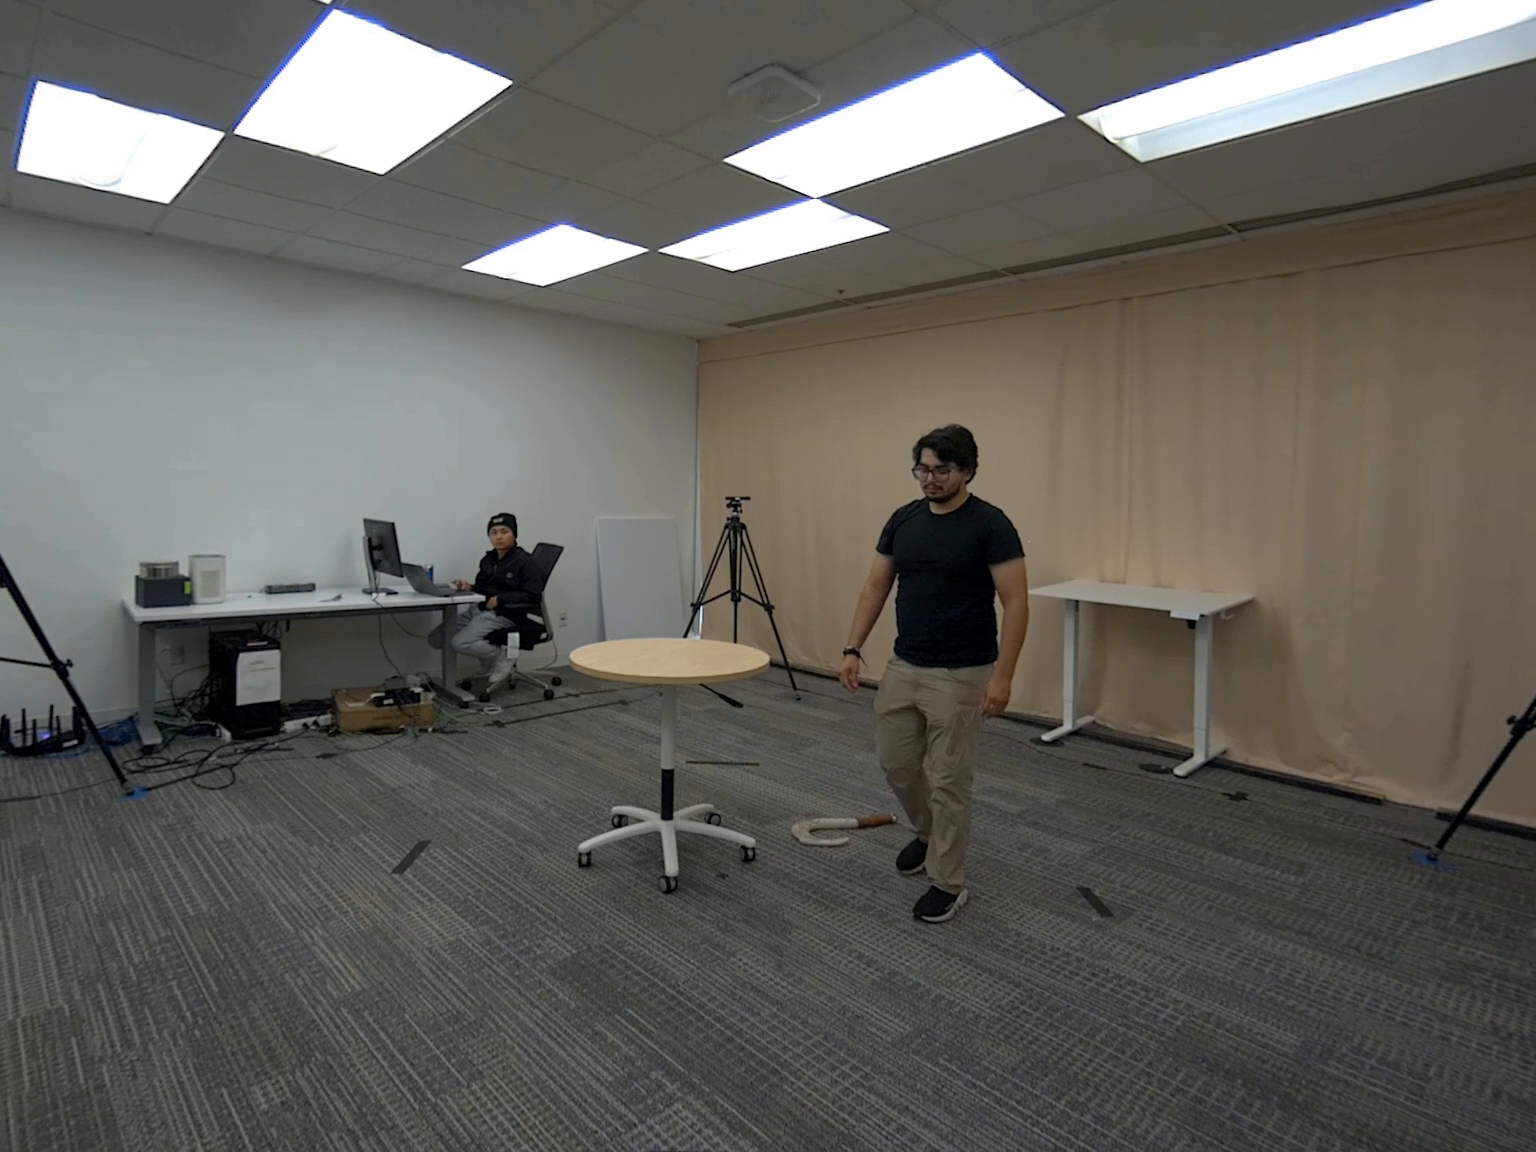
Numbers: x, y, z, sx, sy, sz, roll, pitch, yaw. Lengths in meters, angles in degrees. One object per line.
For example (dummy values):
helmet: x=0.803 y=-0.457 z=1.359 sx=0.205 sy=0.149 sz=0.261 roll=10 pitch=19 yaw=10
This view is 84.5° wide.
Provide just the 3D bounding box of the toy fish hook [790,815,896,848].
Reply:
toy fish hook: x=0.338 y=1.066 z=3.533 sx=0.498 sy=0.048 sz=0.230 roll=-1 pitch=12 yaw=-22
